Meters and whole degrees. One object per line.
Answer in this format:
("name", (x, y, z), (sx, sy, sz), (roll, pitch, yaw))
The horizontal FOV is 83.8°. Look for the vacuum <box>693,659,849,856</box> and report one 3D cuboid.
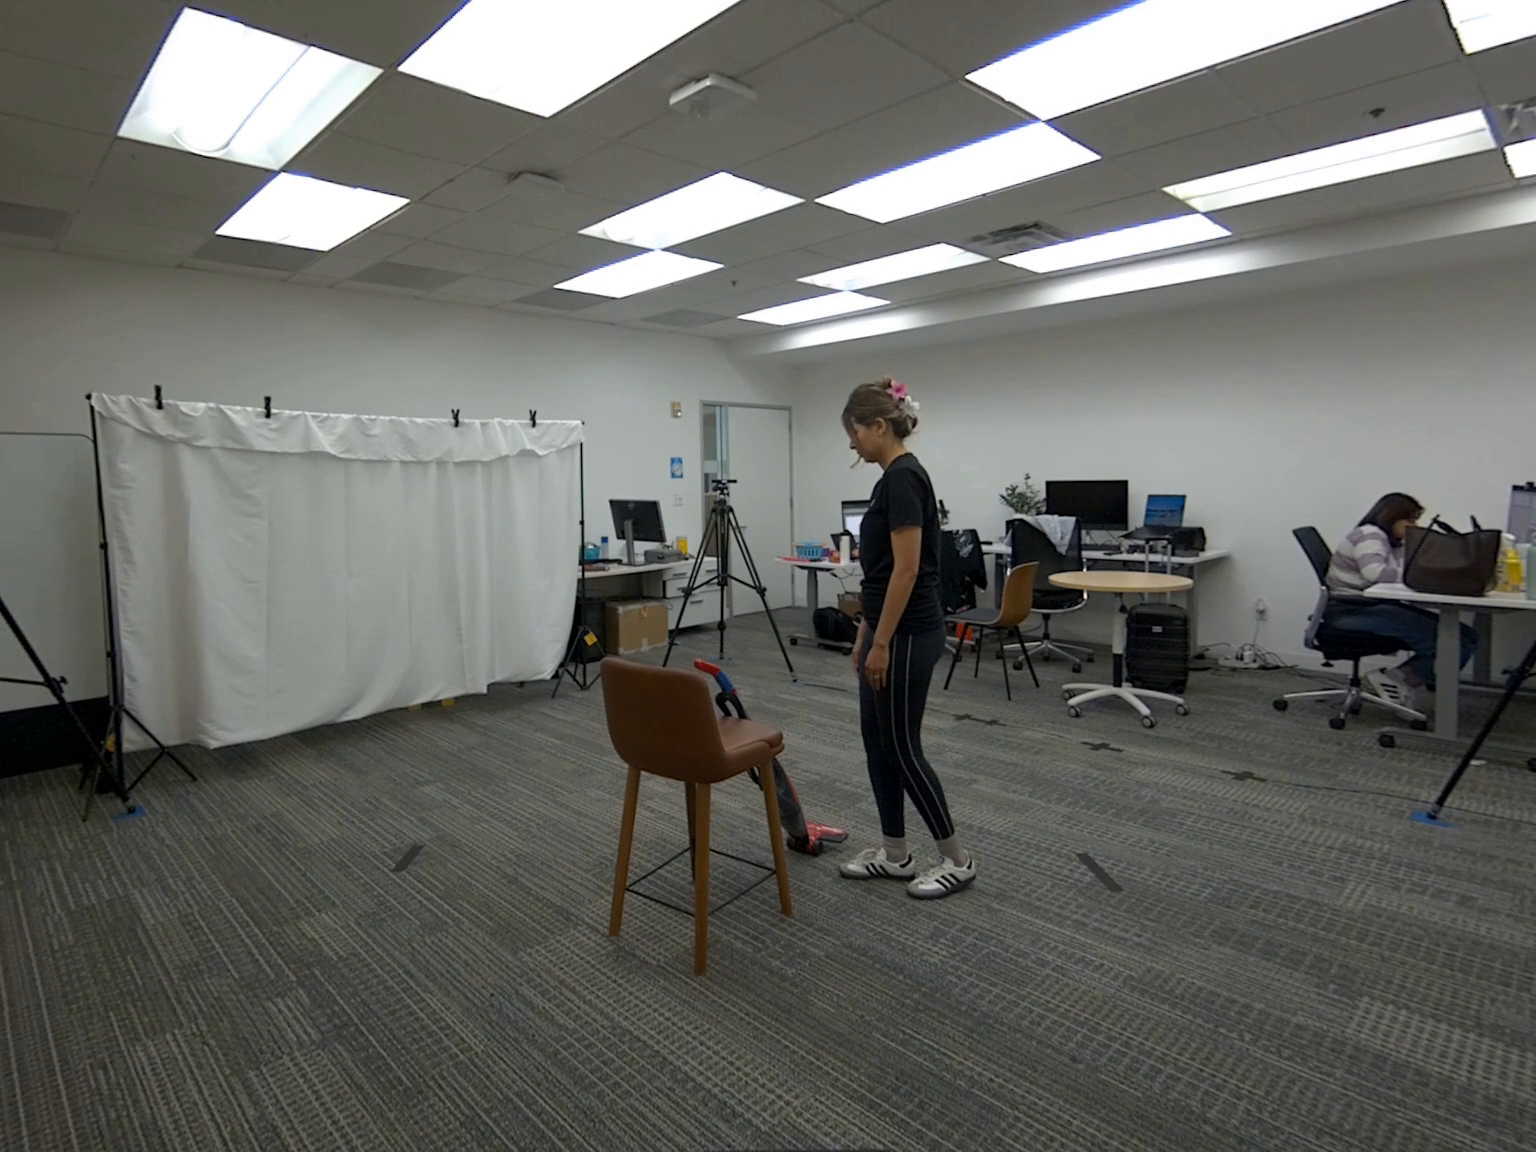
("vacuum", (-0.016, 0.638, 2.967), (0.260, 1.013, 0.145), (3, 45, 36))
